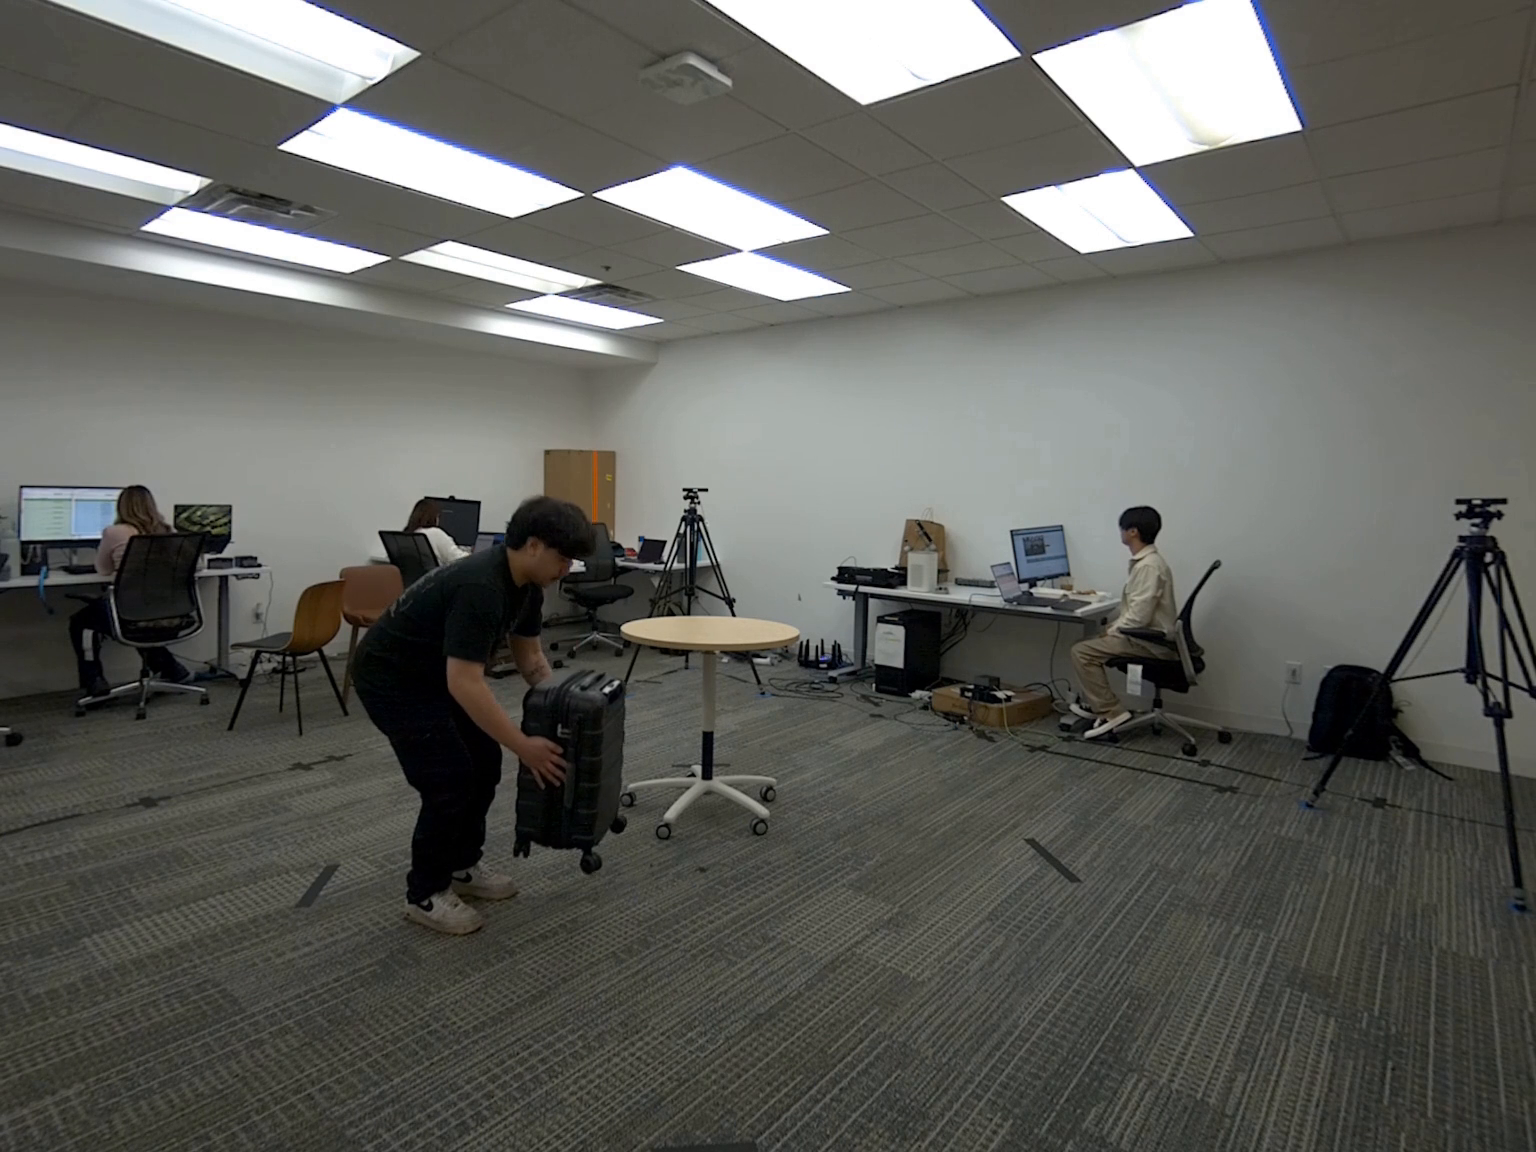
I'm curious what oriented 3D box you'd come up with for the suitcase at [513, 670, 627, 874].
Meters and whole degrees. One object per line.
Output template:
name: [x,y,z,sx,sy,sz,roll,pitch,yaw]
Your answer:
suitcase: [-0.631,0.585,2.700,0.251,0.547,0.373,5,5,8]
